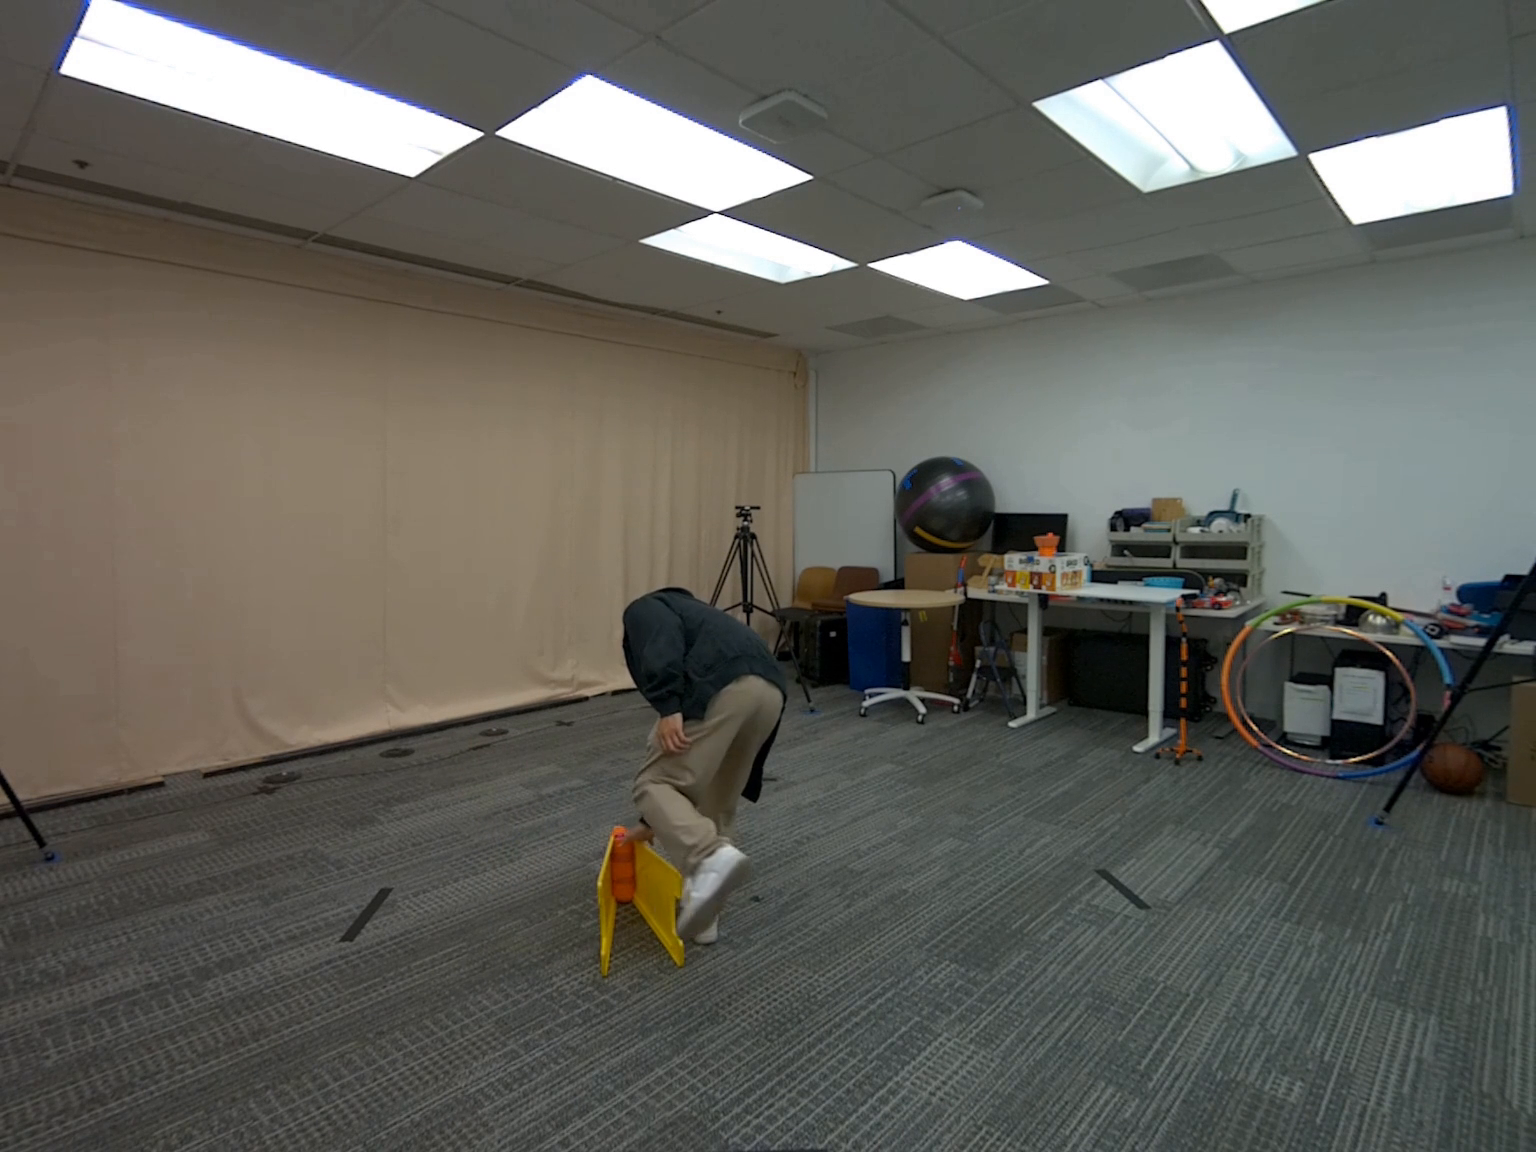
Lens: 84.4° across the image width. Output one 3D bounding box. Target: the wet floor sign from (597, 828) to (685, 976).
[{"bbox_3d":[-0.476,1.035,2.822,0.285,0.282,0.656,-1,2,-16],"label":"wet floor sign"}]
